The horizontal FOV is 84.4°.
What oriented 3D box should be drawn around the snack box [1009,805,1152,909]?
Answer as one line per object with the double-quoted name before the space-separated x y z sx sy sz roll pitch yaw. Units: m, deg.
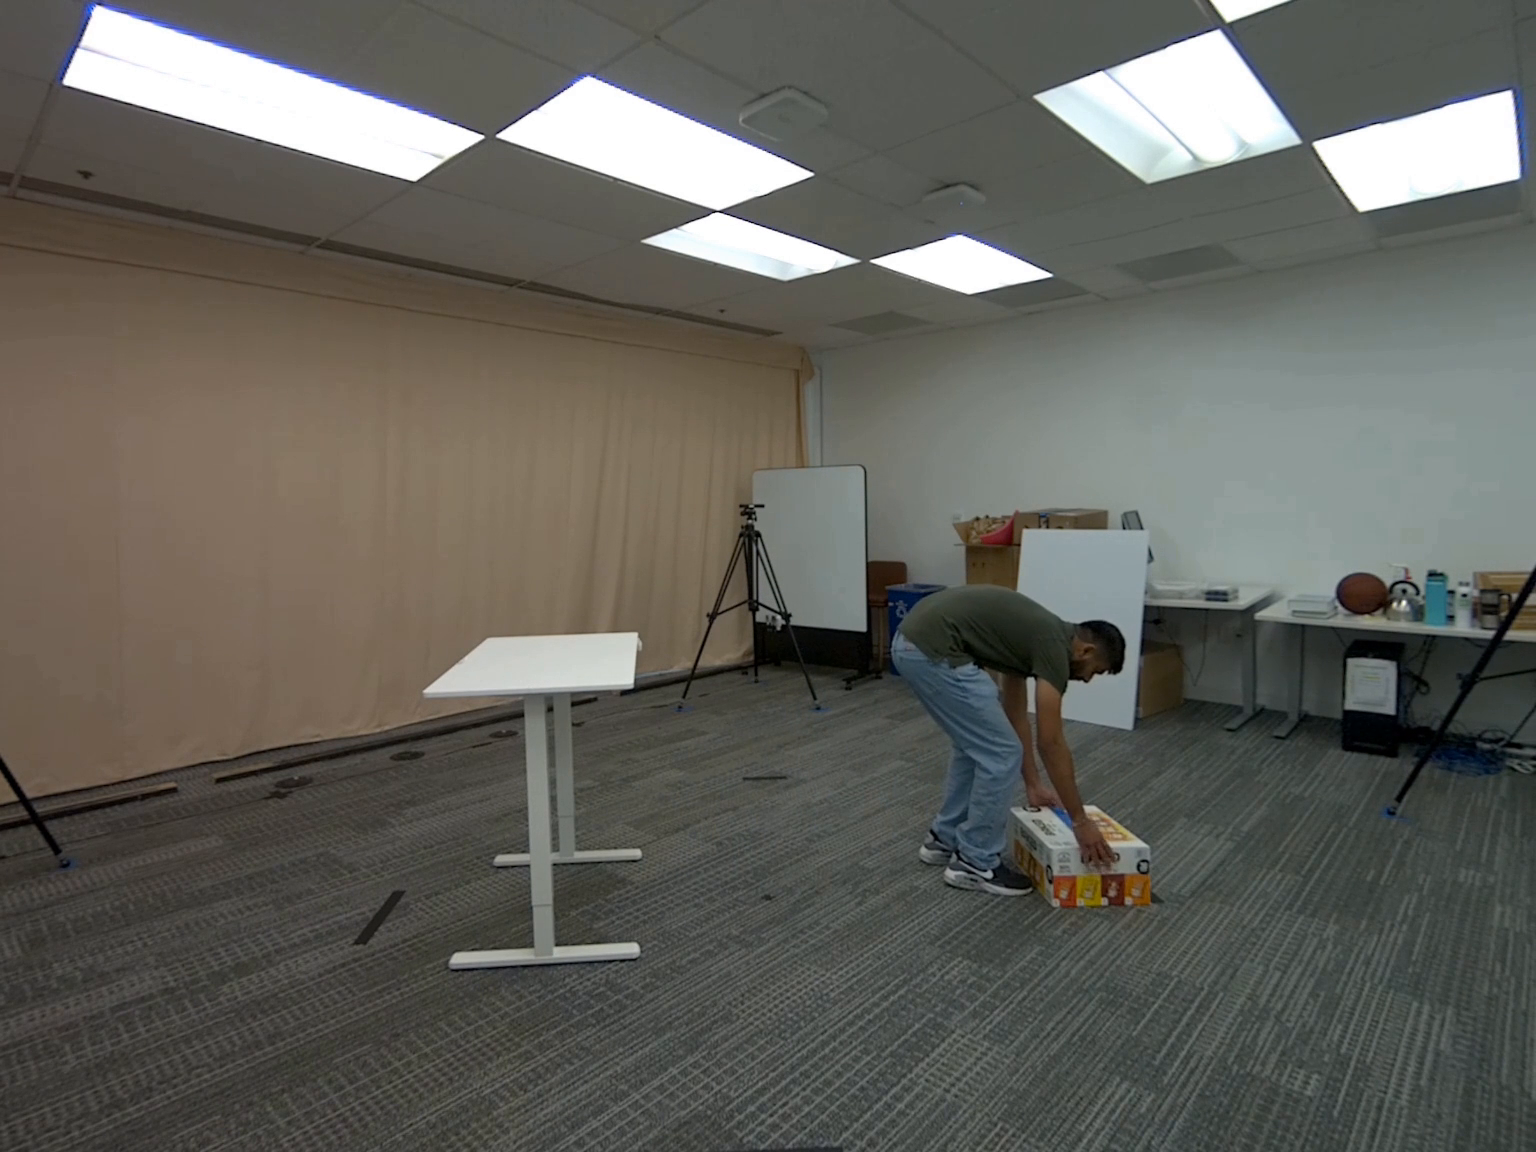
"snack box" 1.130 1.015 3.074 0.339 0.205 0.407 -1 4 -4
